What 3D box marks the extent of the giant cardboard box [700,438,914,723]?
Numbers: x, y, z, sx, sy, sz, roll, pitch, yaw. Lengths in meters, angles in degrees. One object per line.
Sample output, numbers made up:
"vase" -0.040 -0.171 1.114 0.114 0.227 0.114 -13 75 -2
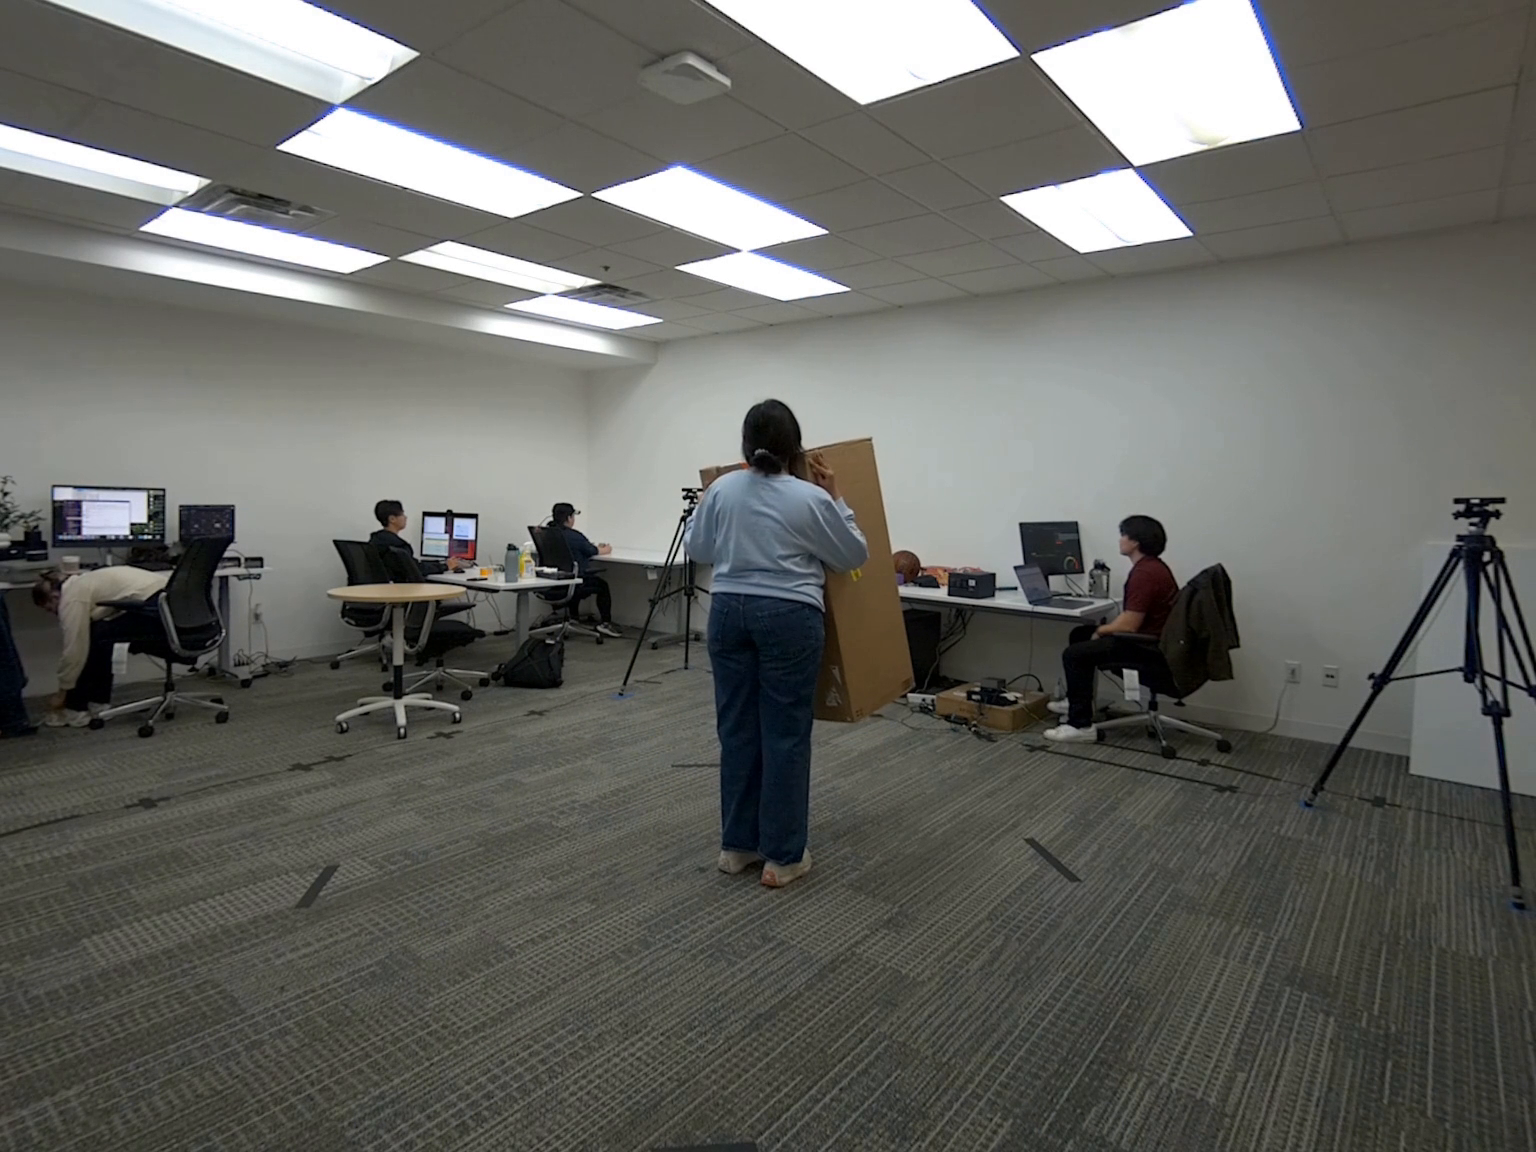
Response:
"giant cardboard box" 0.145 0.008 3.439 0.437 1.020 0.601 -16 8 -43
